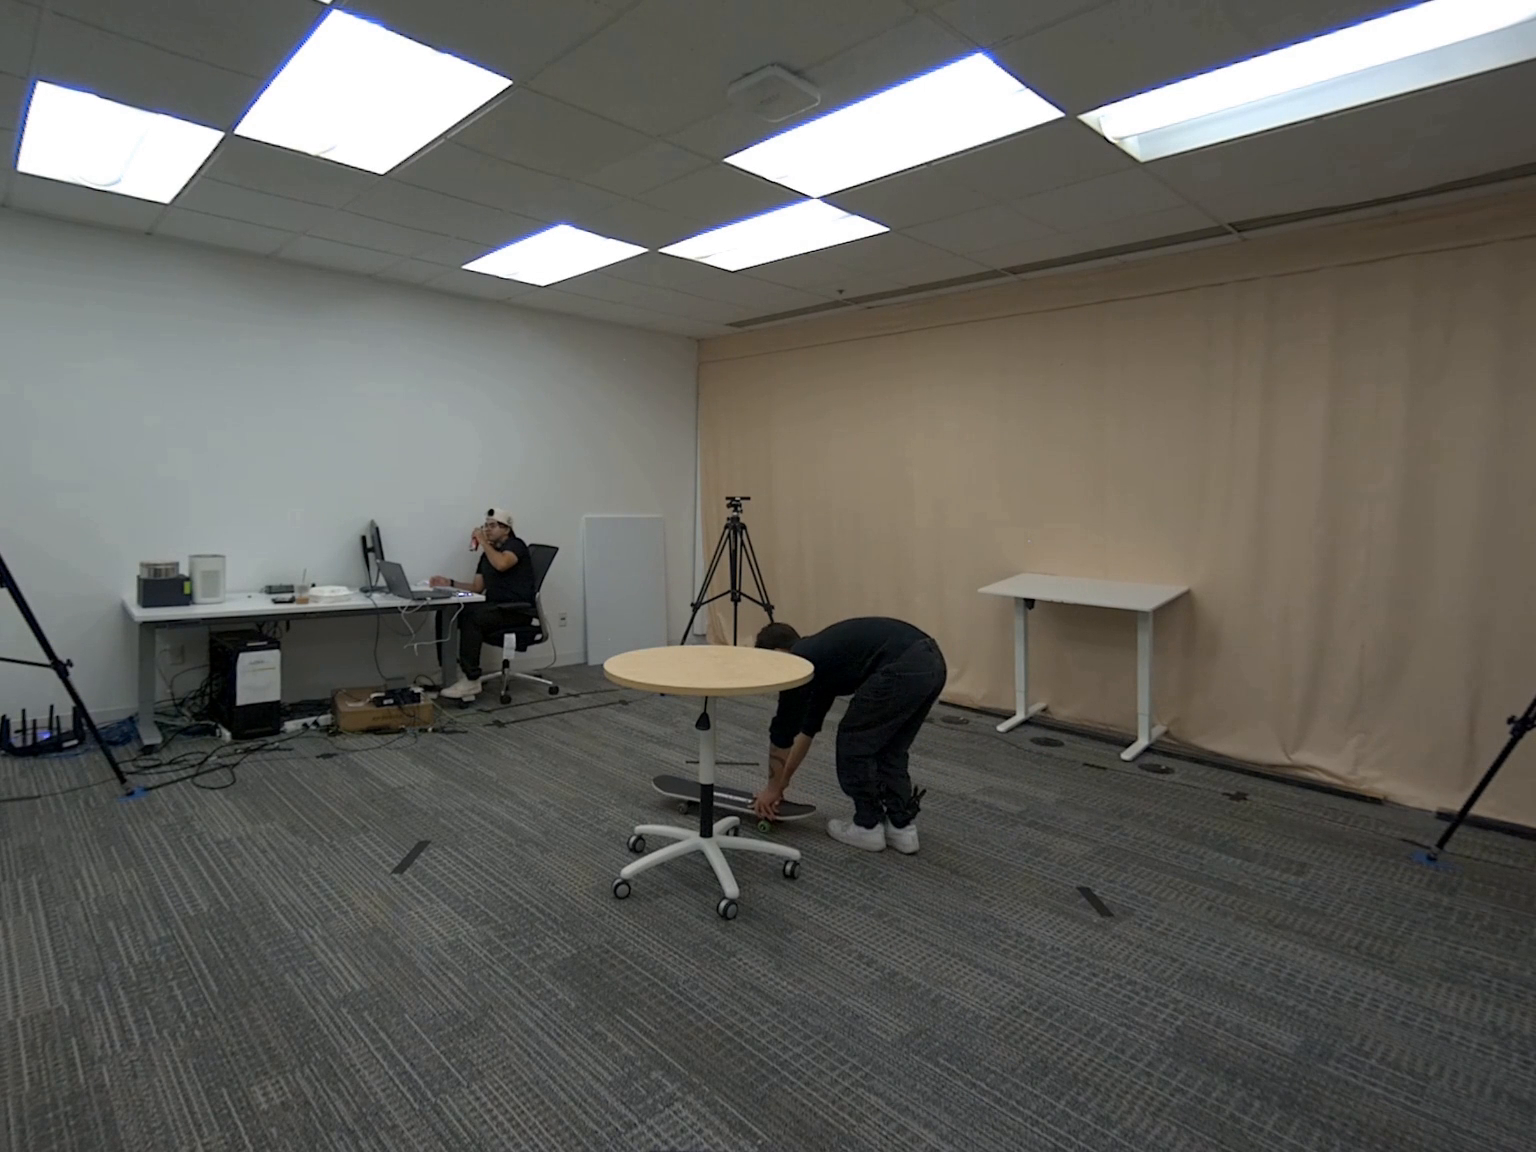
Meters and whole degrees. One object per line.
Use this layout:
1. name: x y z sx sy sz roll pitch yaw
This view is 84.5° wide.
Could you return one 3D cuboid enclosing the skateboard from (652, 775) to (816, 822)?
1. skateboard: -0.164 0.995 3.686 0.802 0.110 0.190 4 5 27
